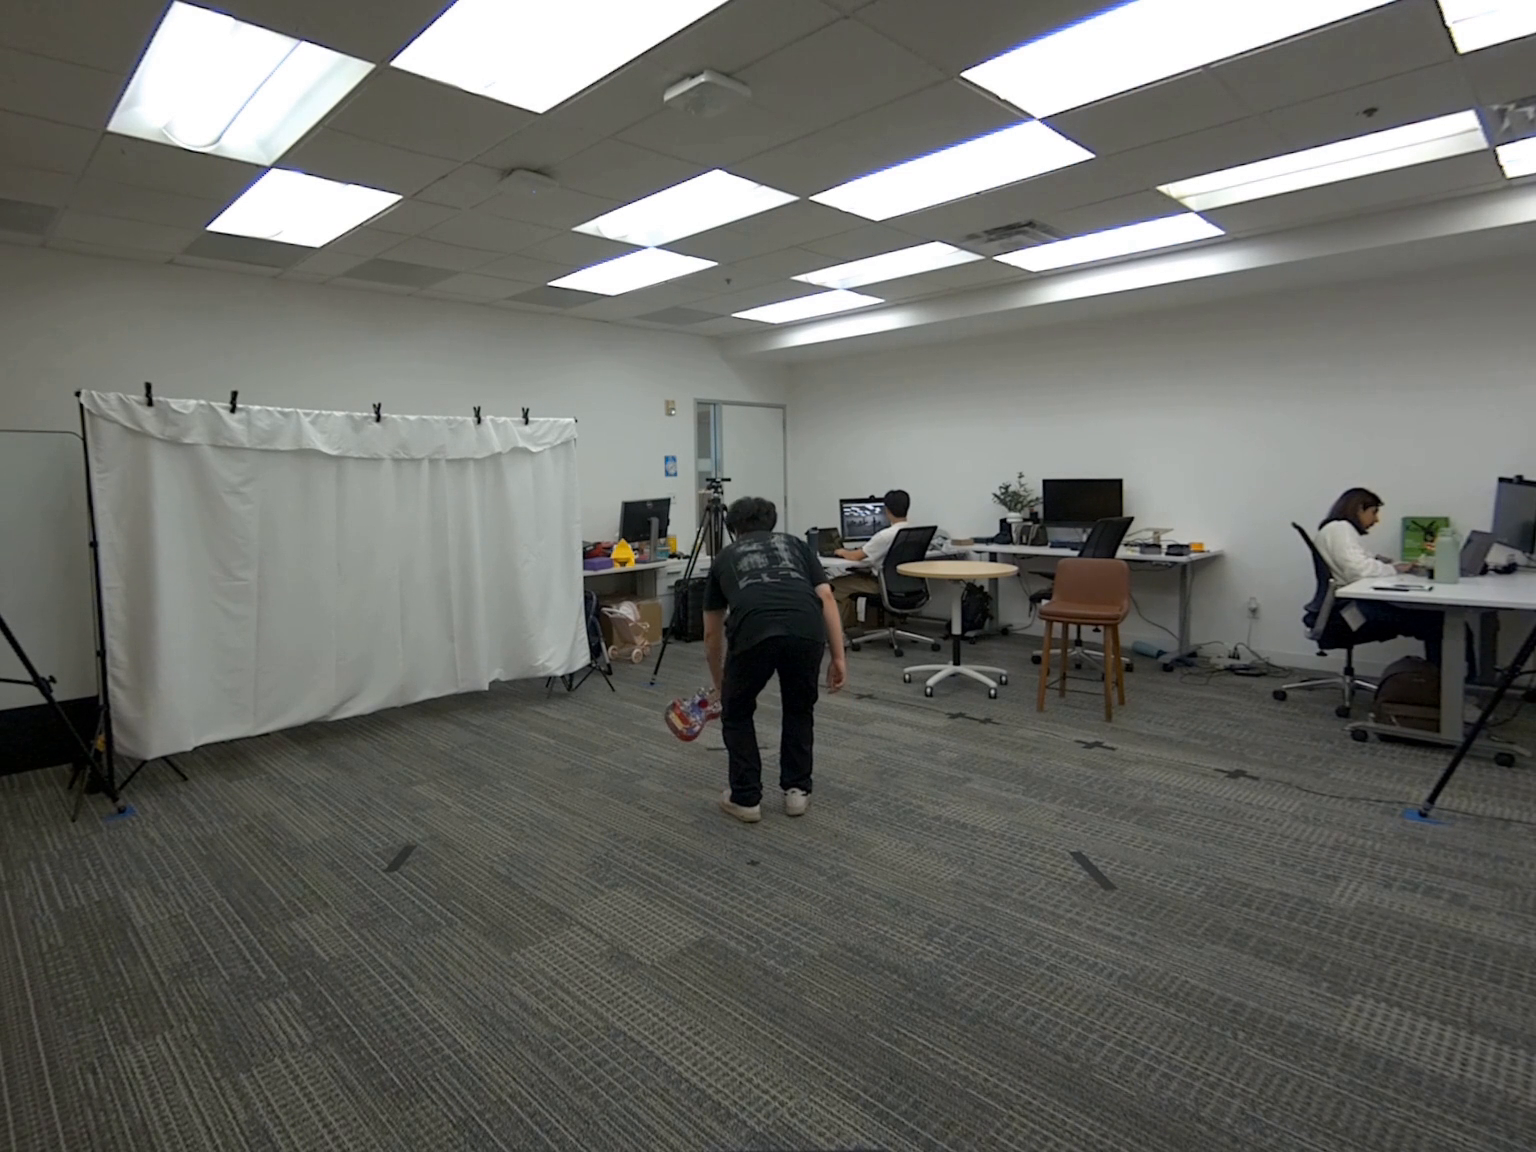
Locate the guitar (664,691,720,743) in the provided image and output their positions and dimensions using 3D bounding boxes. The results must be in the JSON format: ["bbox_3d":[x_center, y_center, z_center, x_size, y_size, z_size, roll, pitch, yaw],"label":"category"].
[{"bbox_3d":[-0.222,0.579,3.881,0.492,0.200,0.069,-22,-33,-22],"label":"guitar"}]
